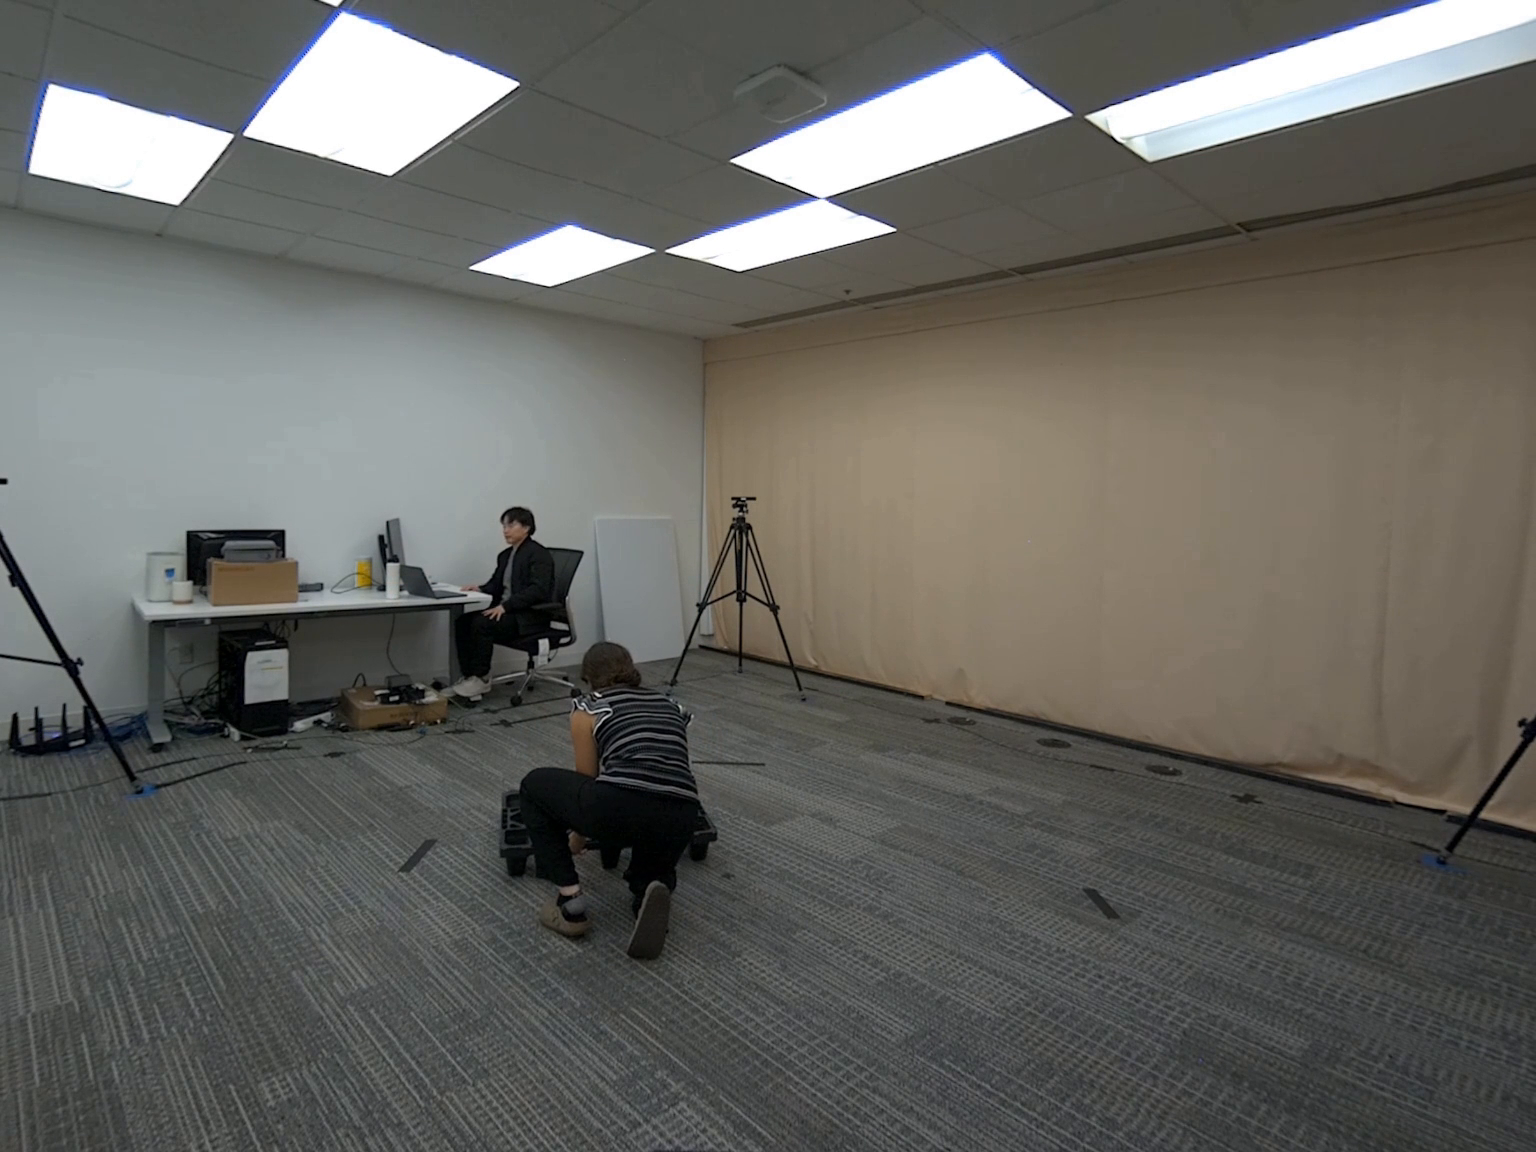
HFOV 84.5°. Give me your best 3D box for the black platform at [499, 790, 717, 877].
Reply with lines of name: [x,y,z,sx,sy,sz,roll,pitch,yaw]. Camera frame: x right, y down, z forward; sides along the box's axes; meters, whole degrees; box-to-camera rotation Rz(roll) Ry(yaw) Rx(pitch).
black platform: [-0.662,1.008,3.366,0.796,0.143,0.613,1,4,-15]
